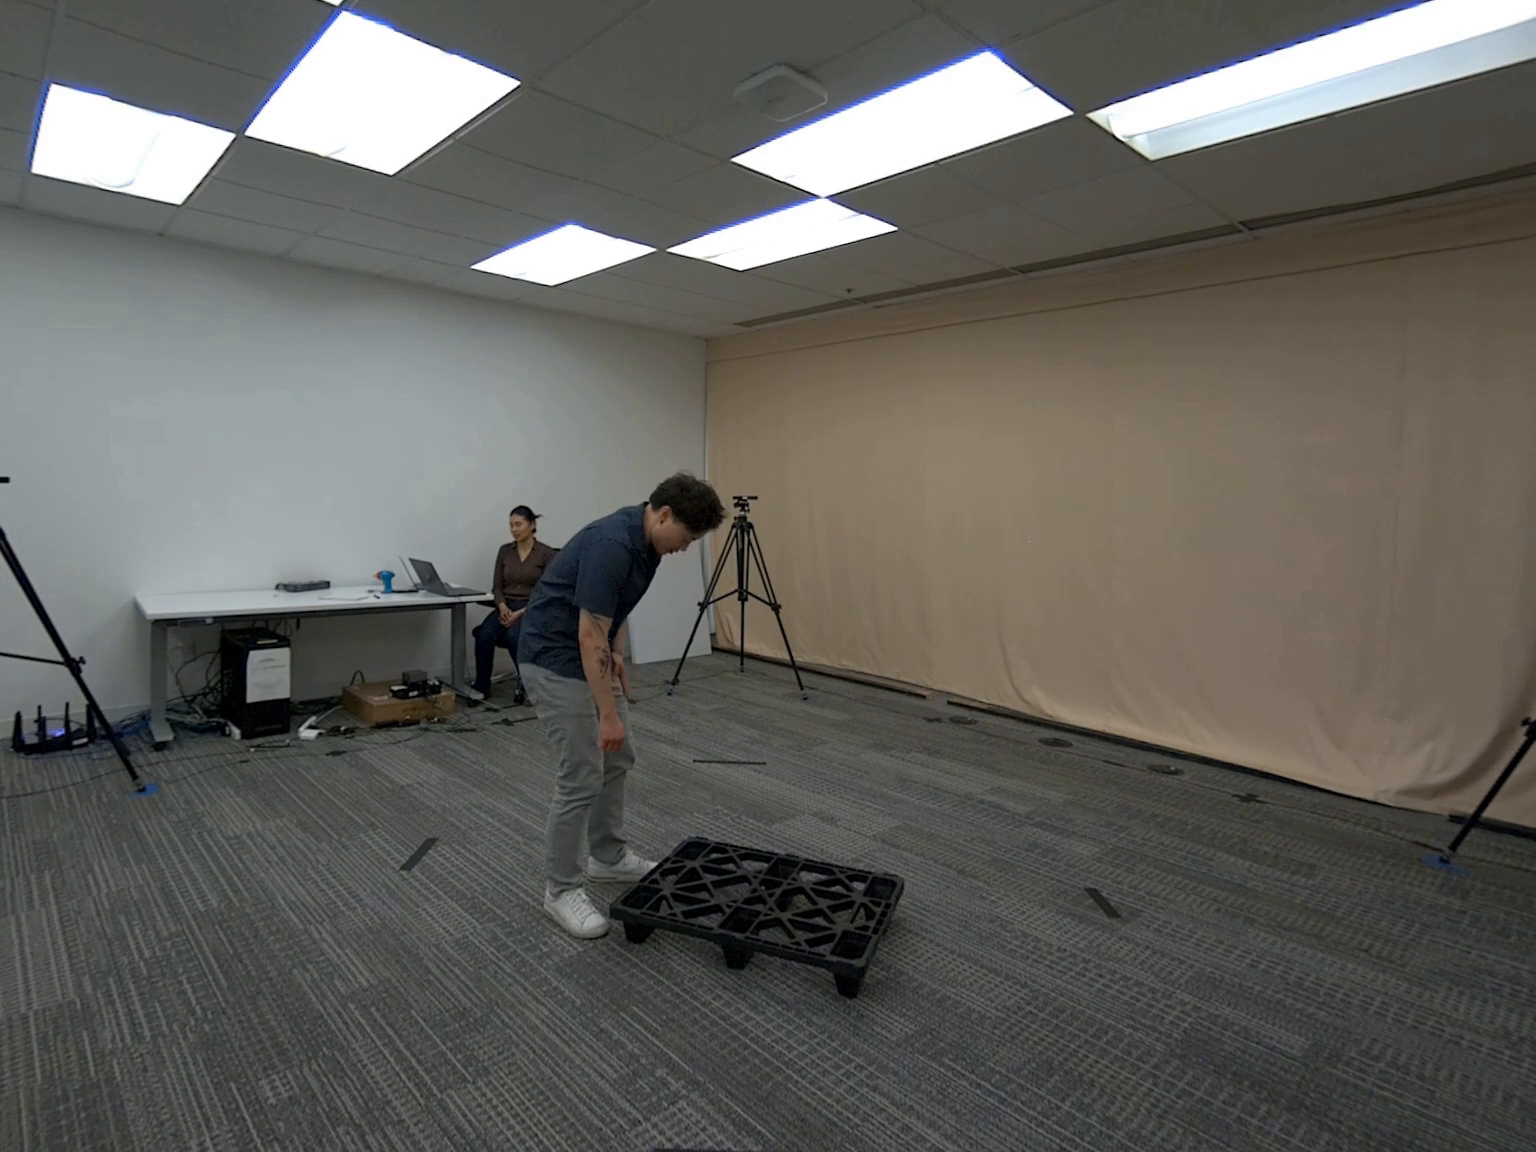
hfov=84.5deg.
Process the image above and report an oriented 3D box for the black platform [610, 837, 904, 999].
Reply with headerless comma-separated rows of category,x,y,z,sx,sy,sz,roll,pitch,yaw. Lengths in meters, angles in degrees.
black platform,-0.020,1.076,2.693,0.819,0.143,0.597,3,6,21
